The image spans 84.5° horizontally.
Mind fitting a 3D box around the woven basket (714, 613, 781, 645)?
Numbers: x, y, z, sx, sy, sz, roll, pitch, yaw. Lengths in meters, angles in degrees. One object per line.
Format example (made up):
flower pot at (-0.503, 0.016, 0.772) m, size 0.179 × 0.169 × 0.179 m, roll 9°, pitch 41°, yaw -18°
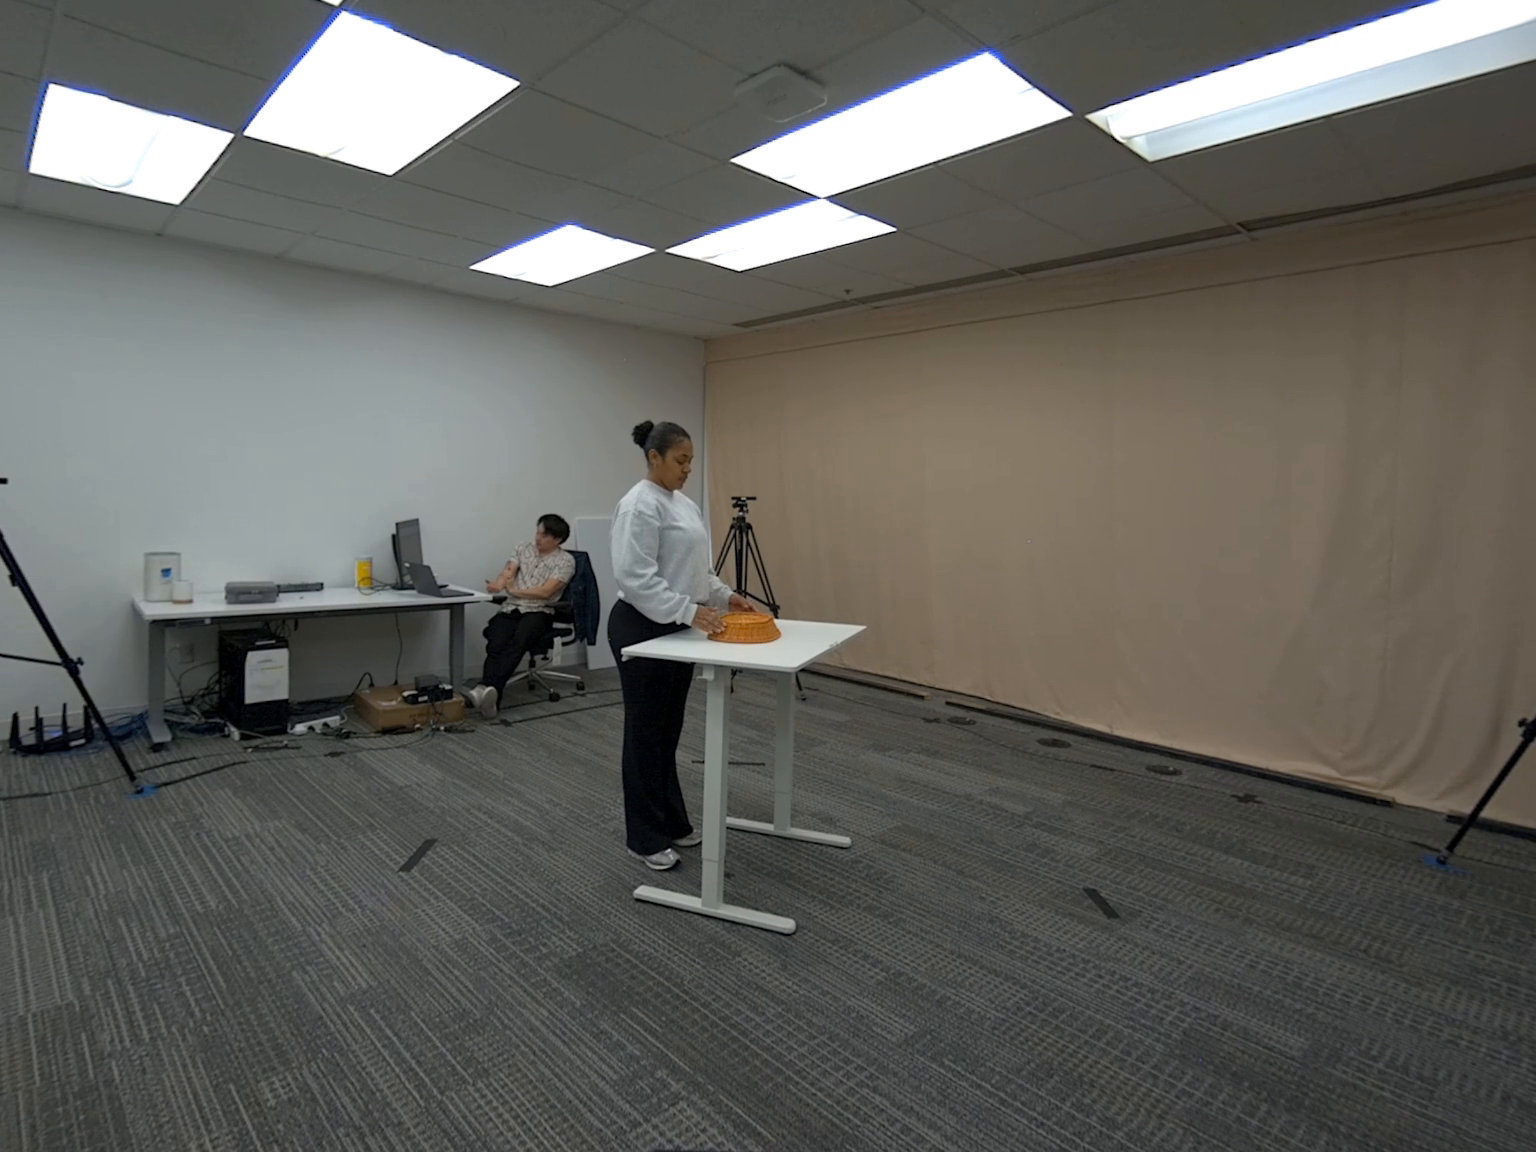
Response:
woven basket at (-0.111, 0.190, 3.111) m, size 0.256 × 0.073 × 0.347 m, roll 5°, pitch 6°, yaw 15°
